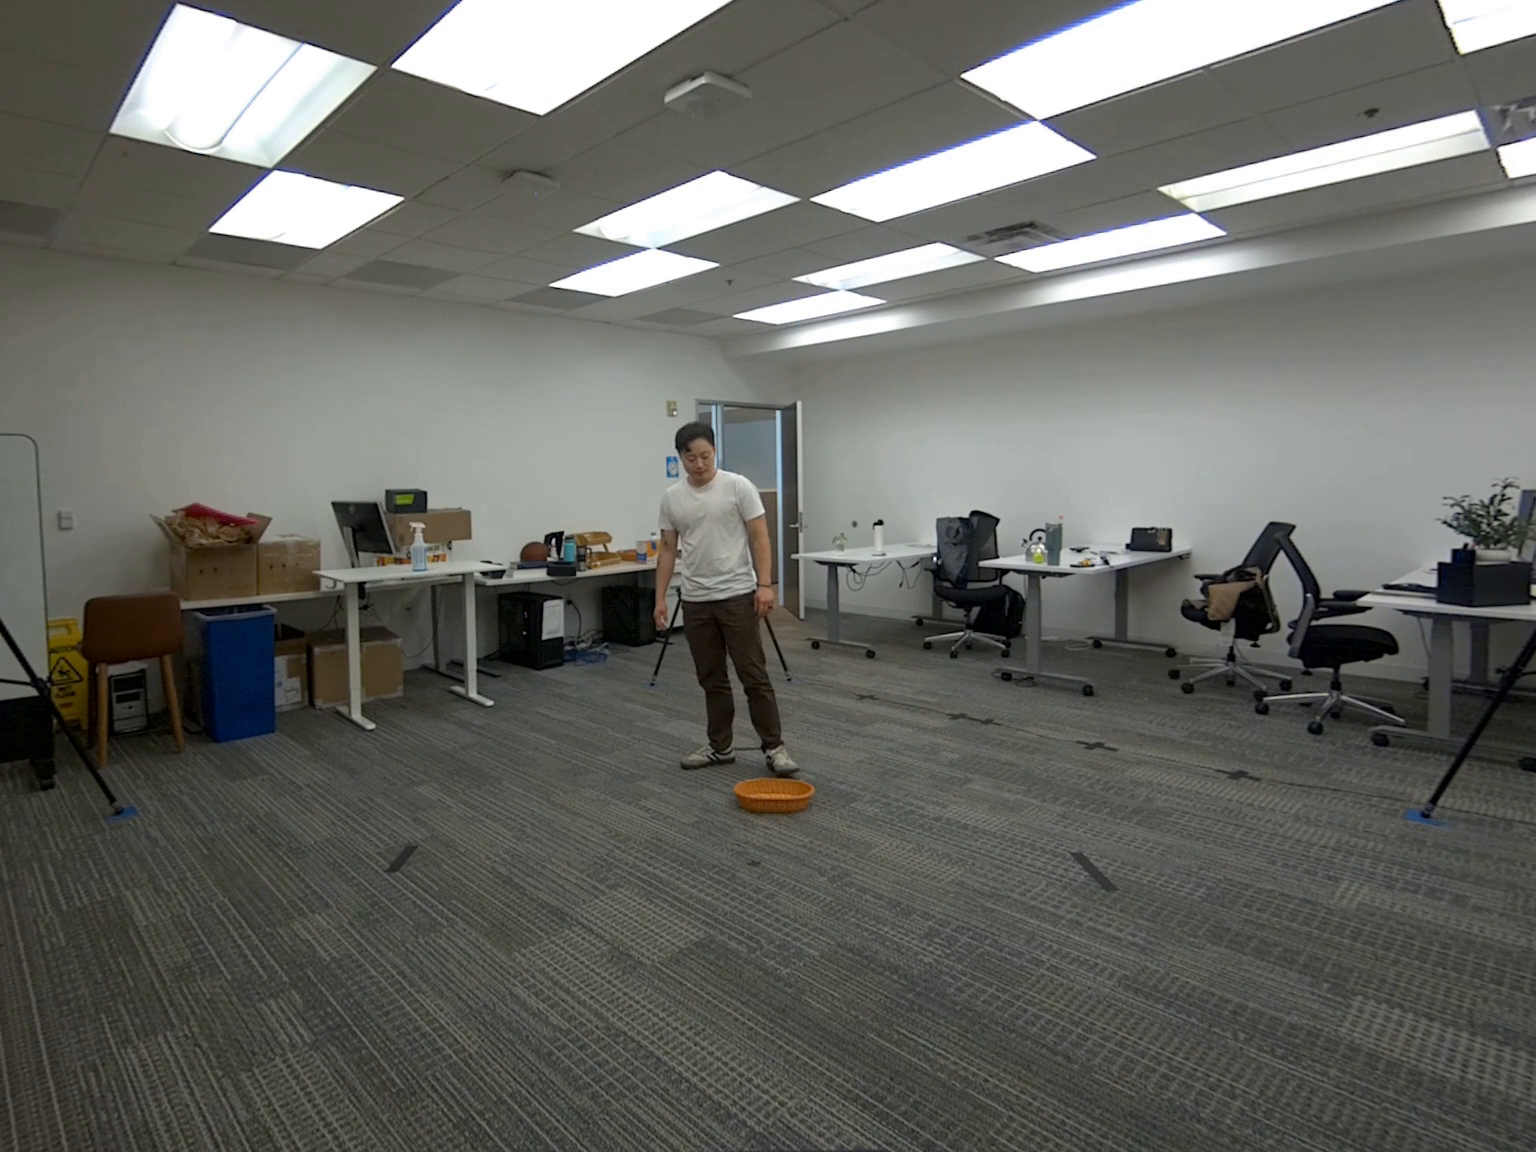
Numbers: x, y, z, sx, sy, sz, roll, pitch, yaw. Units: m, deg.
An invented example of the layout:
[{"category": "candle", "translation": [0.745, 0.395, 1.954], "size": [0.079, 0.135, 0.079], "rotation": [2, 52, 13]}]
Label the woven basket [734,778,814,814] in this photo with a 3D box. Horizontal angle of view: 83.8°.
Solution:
[{"category": "woven basket", "translation": [0.022, 0.940, 3.664], "size": [0.352, 0.073, 0.252], "rotation": [0, 6, 5]}]
